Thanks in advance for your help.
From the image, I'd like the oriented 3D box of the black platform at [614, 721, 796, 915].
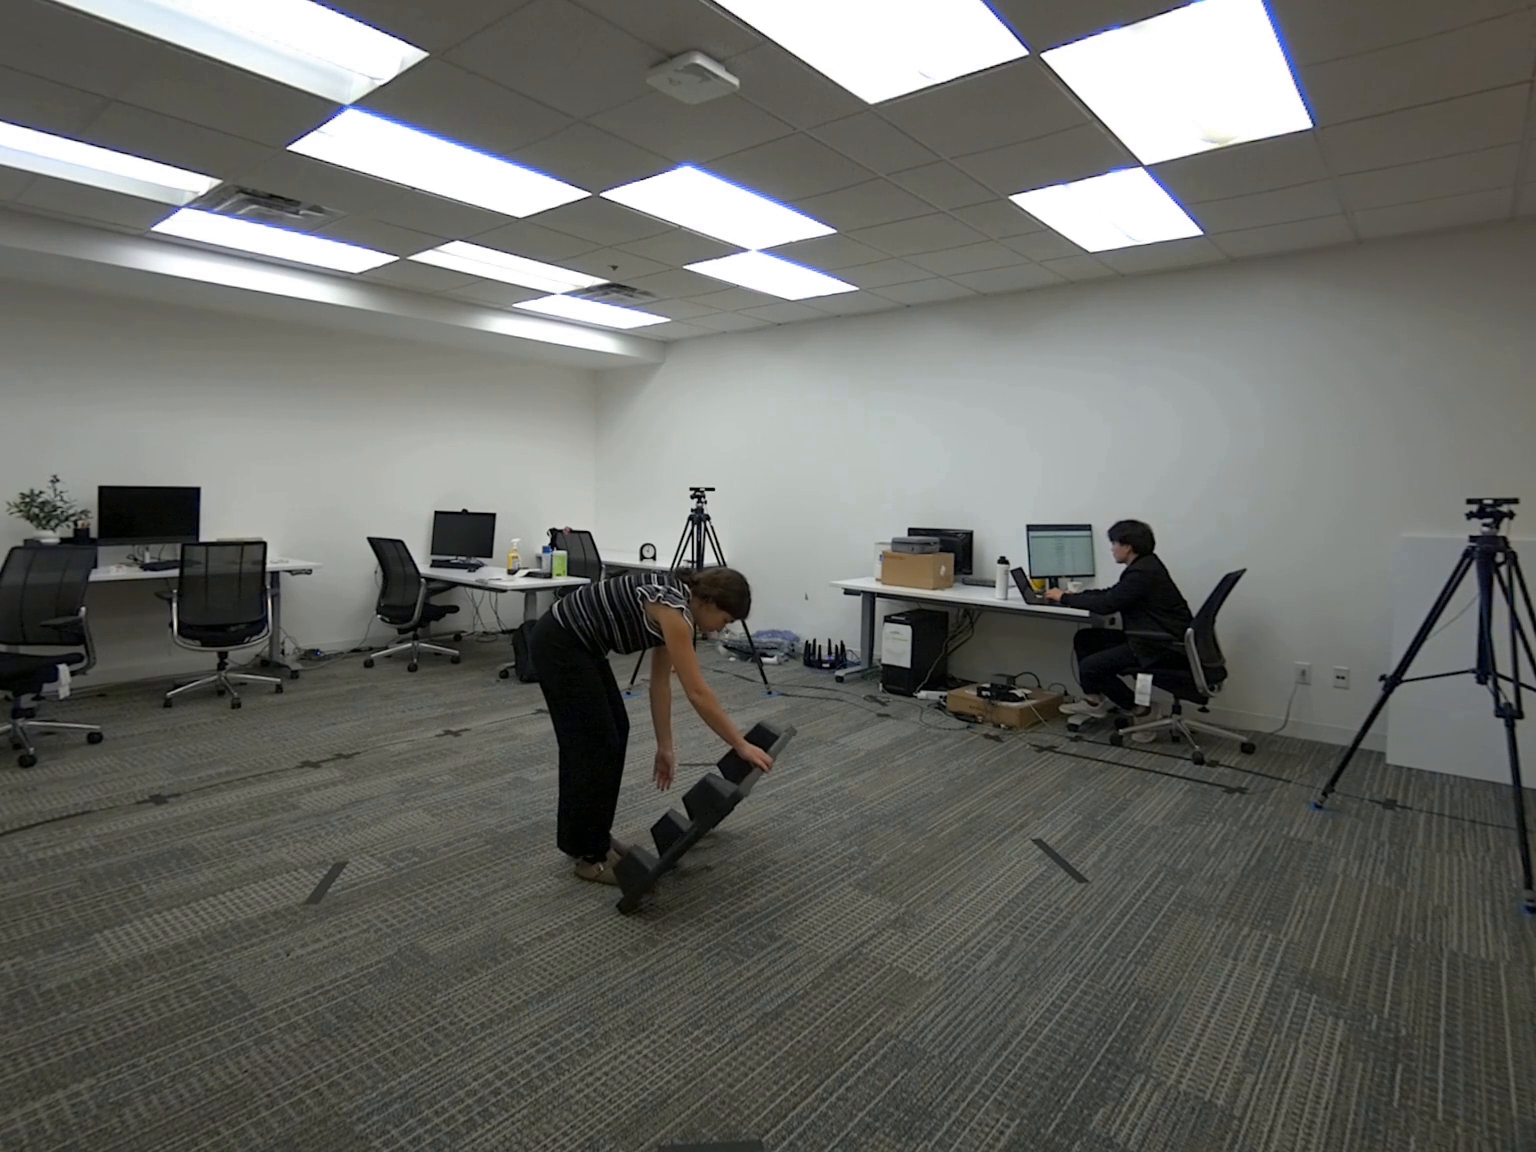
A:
[{"bbox_3d":[-0.234,0.810,3.067,0.145,0.605,0.795,46,13,6],"label":"black platform"}]
